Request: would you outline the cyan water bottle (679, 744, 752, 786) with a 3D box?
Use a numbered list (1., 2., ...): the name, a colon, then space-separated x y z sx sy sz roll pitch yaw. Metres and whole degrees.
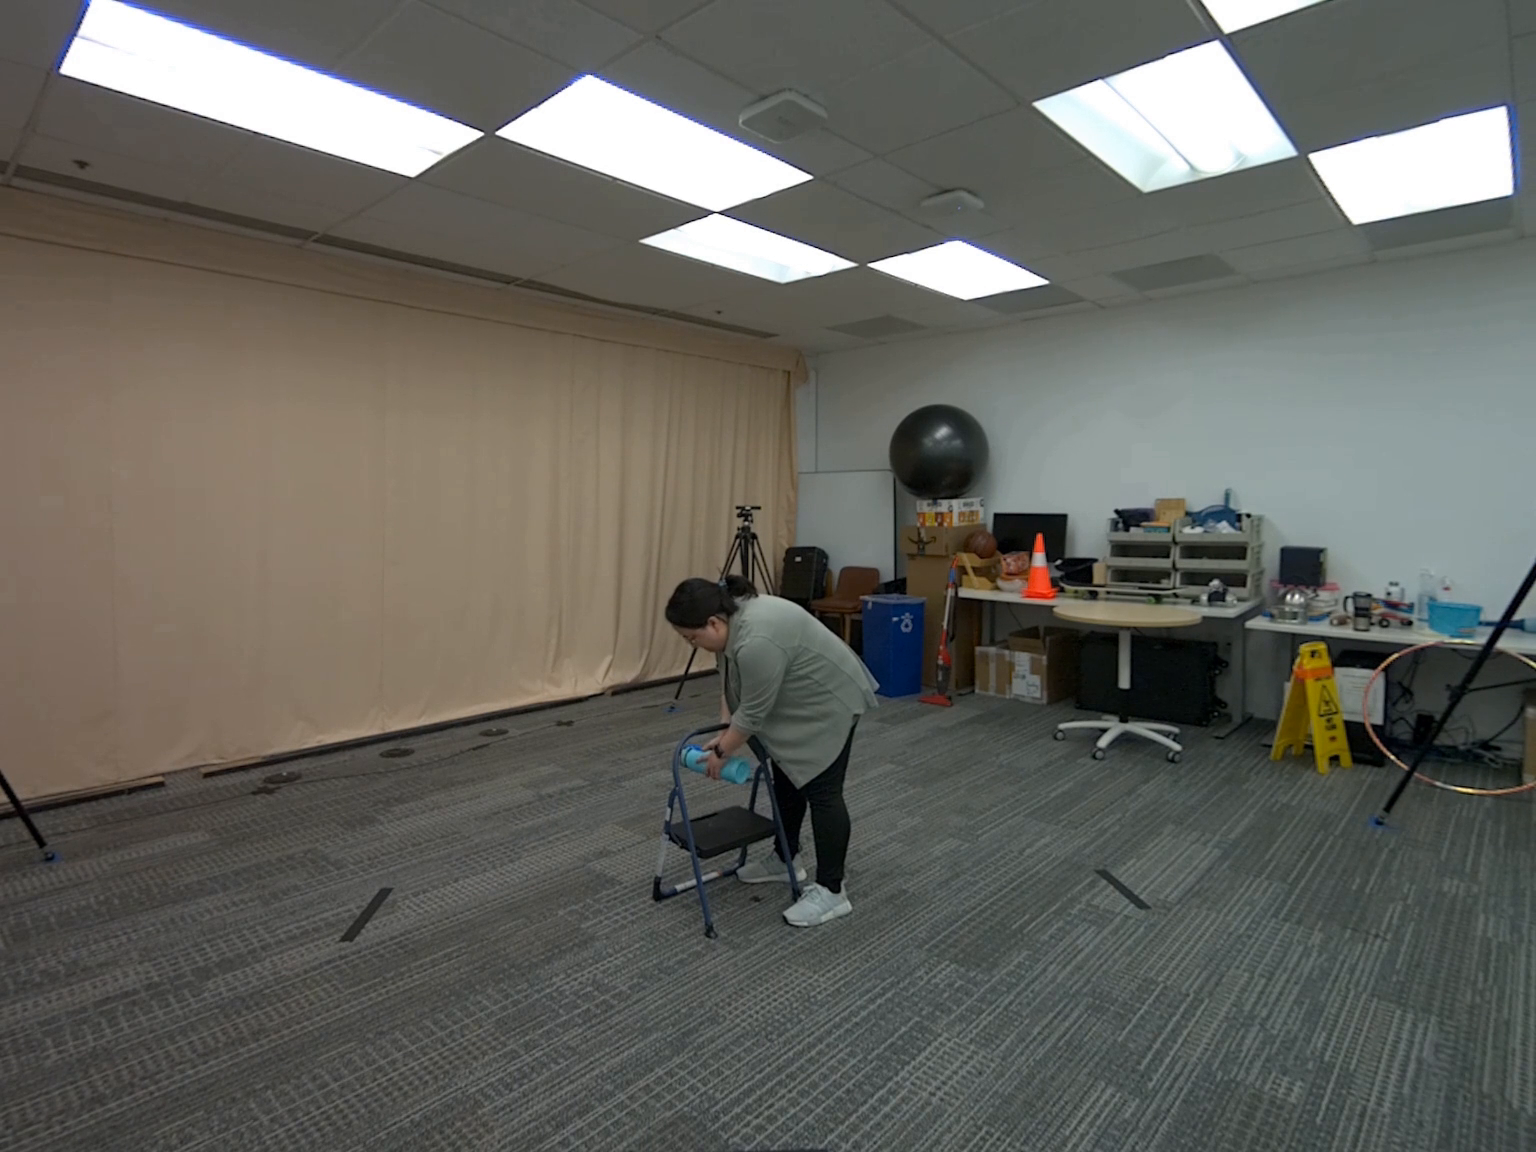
1. cyan water bottle: -0.203 0.682 3.043 0.292 0.092 0.089 3 5 36
